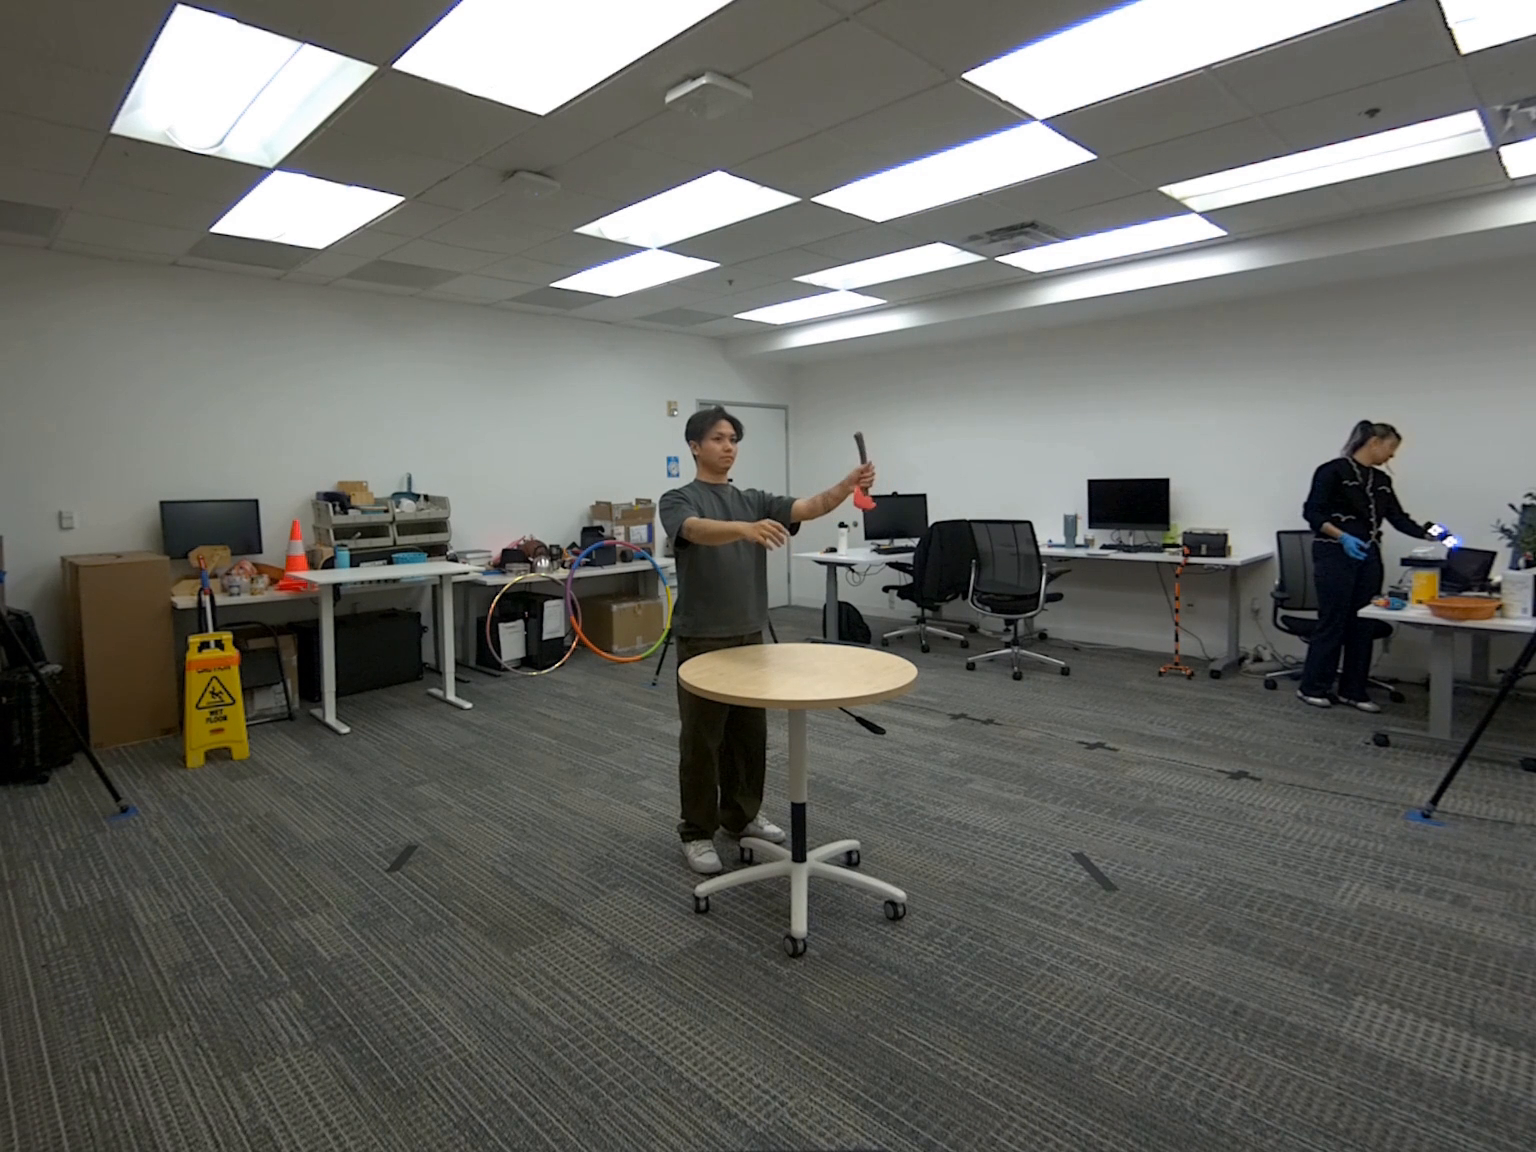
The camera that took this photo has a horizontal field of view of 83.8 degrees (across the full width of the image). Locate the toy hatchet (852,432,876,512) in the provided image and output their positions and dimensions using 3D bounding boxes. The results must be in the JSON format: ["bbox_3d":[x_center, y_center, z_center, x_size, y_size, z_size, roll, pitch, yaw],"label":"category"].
[{"bbox_3d":[0.308,-0.343,2.896,0.030,0.267,0.129,-2,15,42],"label":"toy hatchet"}]
